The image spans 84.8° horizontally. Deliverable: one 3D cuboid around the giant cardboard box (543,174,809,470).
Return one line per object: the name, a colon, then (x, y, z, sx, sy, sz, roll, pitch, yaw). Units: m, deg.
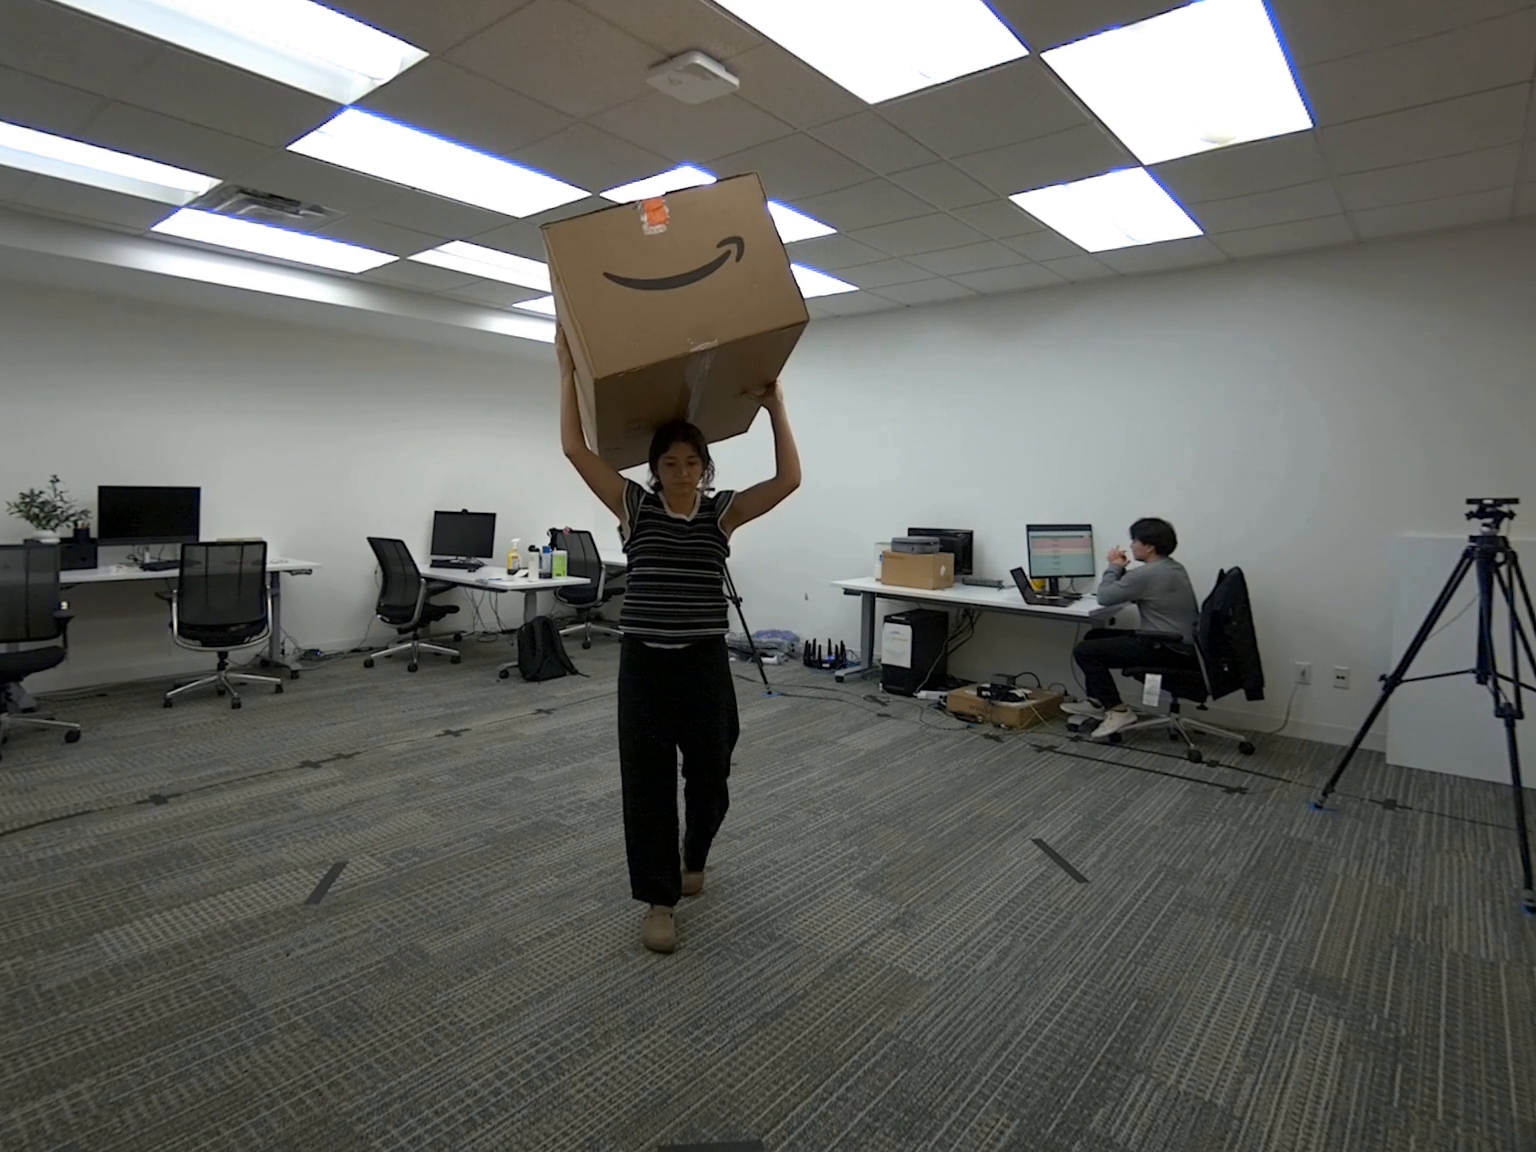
giant cardboard box: (-0.326, -0.697, 2.611, 0.573, 0.429, 1.027, -18, -4, -12)
